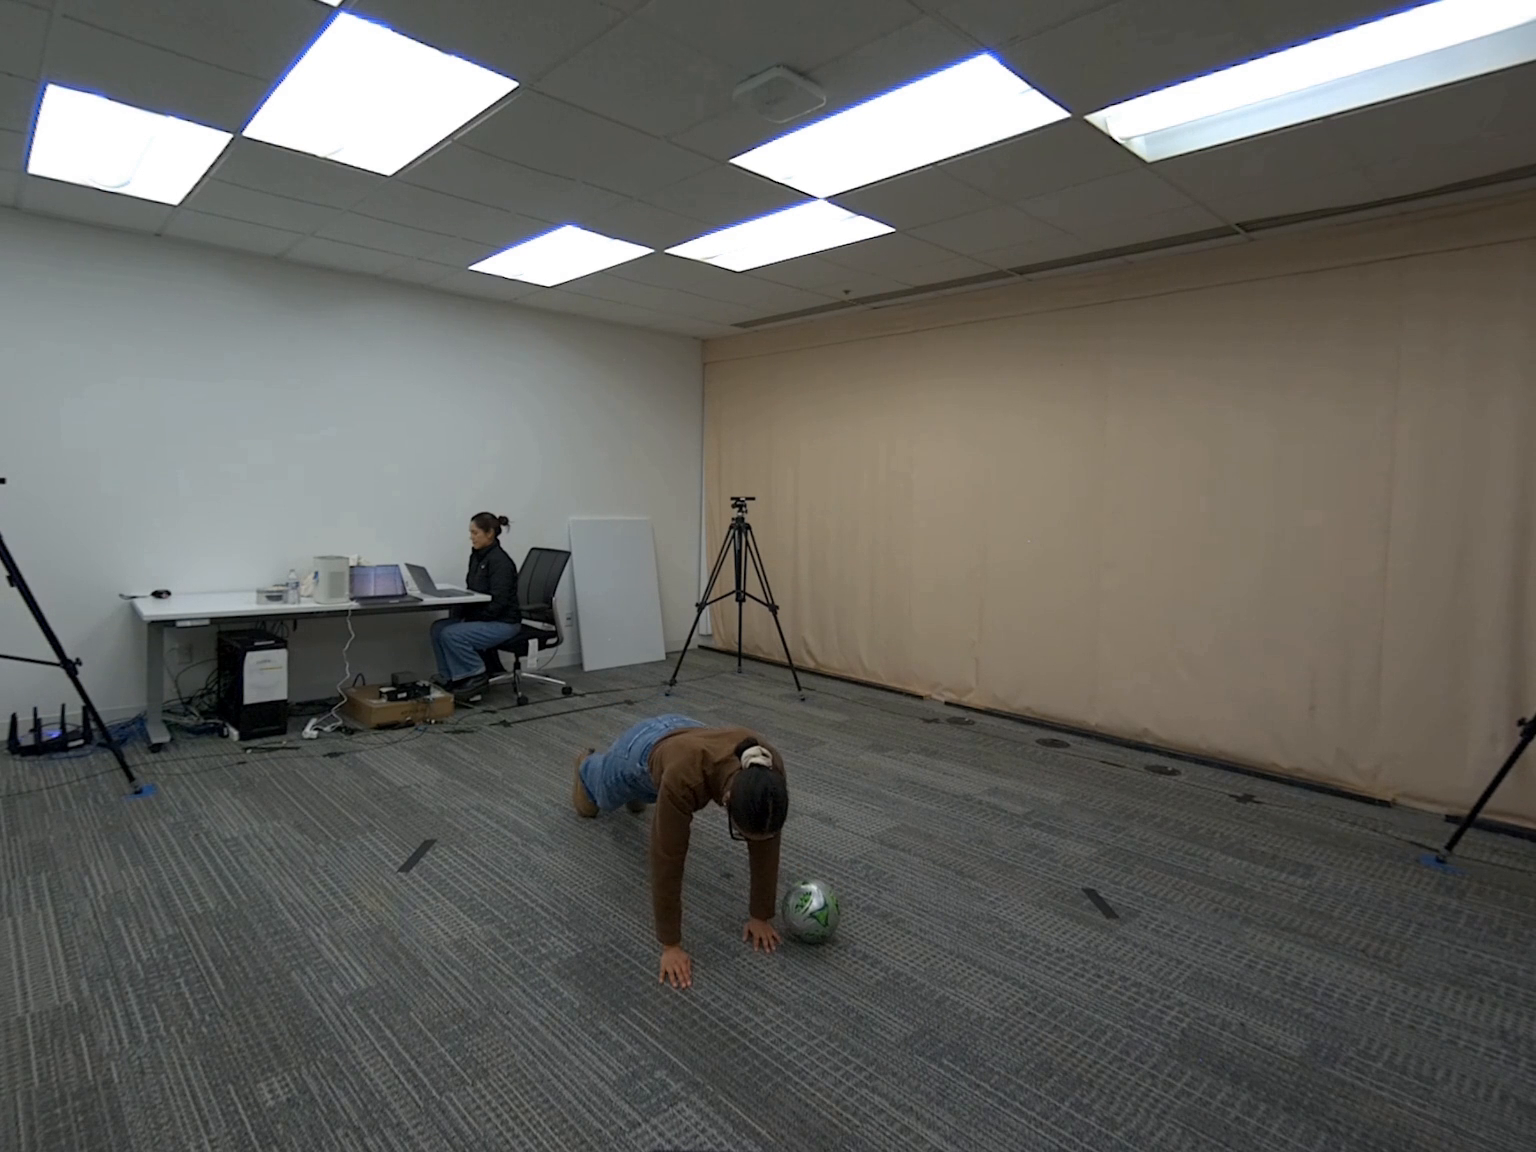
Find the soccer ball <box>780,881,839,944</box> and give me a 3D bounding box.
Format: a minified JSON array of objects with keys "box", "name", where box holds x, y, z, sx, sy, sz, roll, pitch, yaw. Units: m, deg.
[{"box":[0.131,1.063,2.667,0.187,0.187,0.188,1,4,-1],"name":"soccer ball"}]
